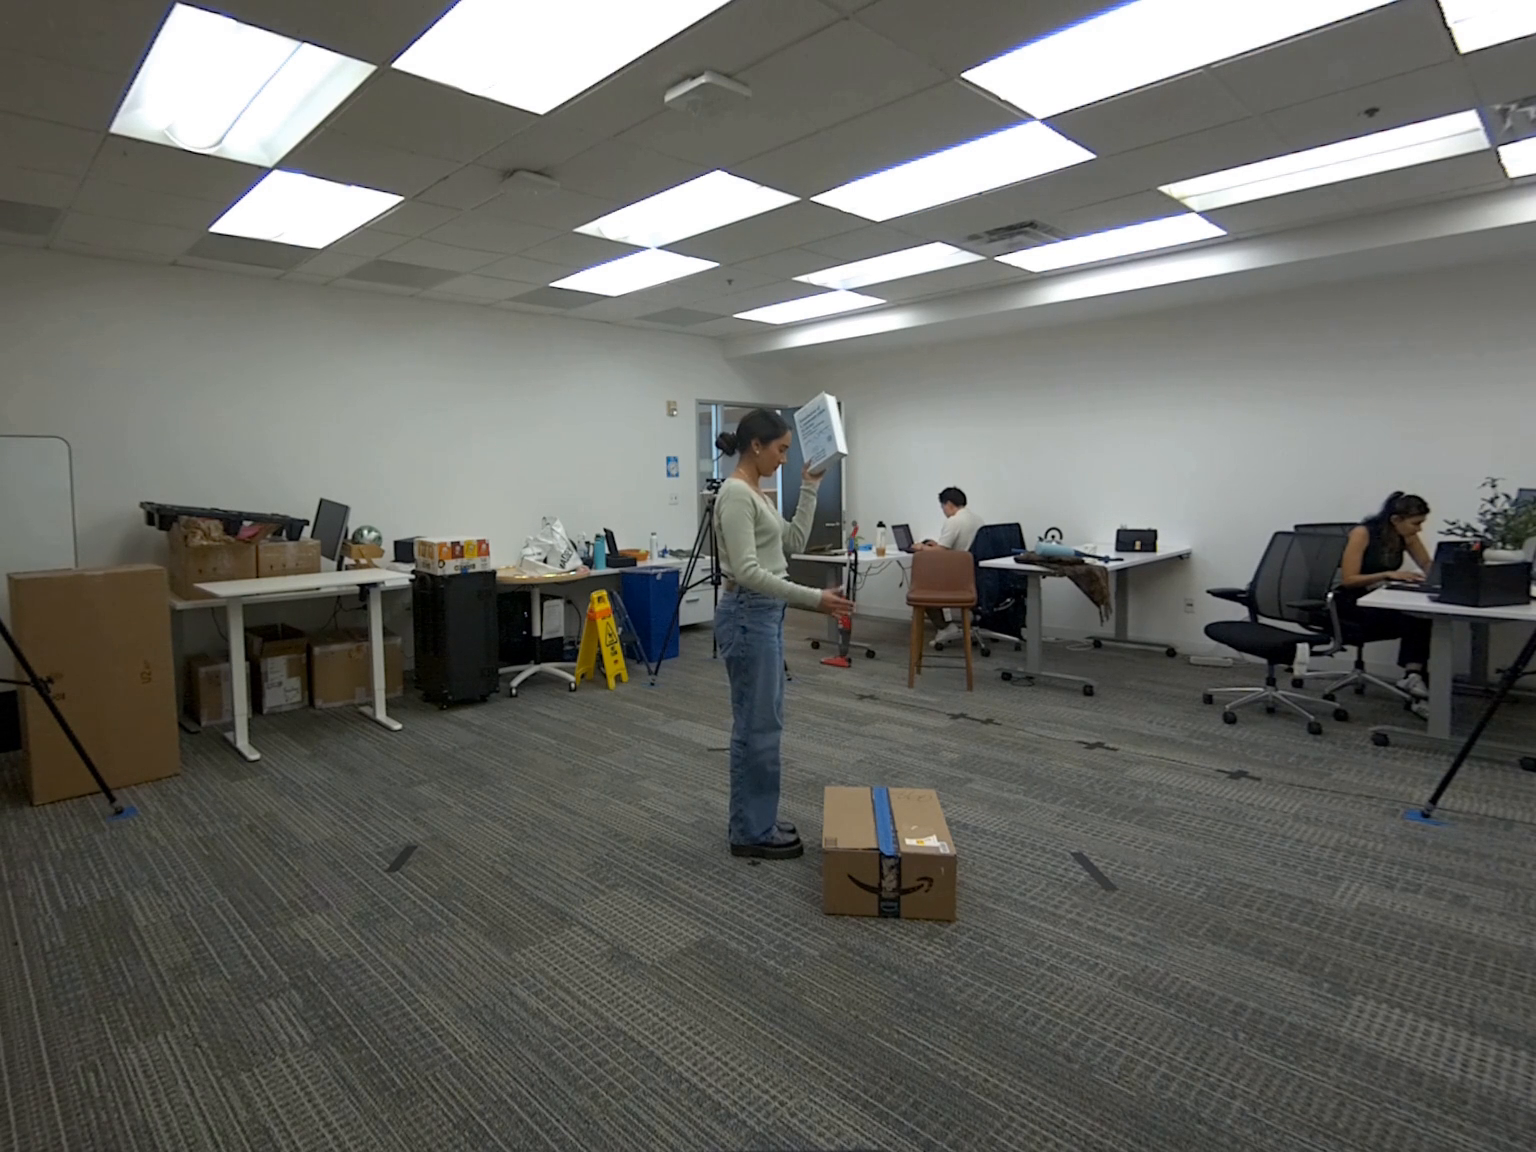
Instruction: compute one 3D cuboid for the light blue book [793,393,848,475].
[{"bbox_3d":[0.206,-0.555,3.336,0.057,0.267,0.193,8,-27,-39],"label":"light blue book"}]
